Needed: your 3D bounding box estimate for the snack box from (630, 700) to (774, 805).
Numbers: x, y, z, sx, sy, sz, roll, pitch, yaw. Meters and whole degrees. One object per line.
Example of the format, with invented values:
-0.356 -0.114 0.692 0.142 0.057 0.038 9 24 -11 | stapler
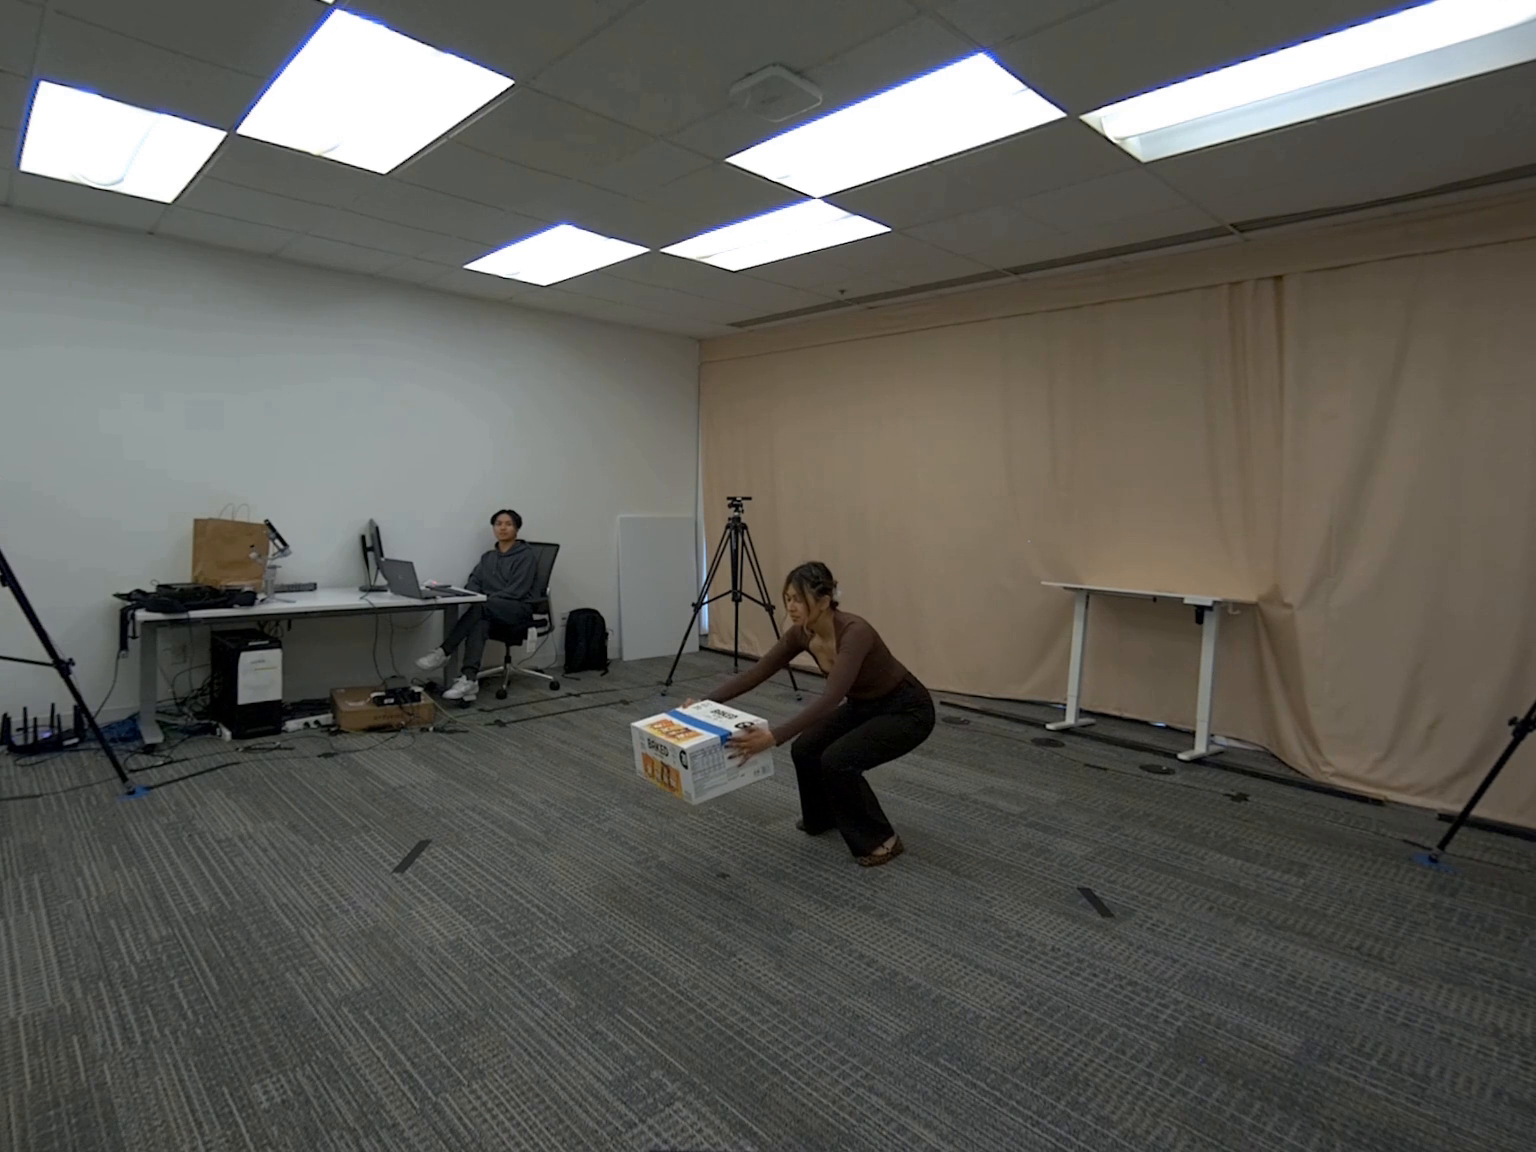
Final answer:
-0.249 0.629 3.042 0.334 0.204 0.415 -12 10 -34 | snack box
